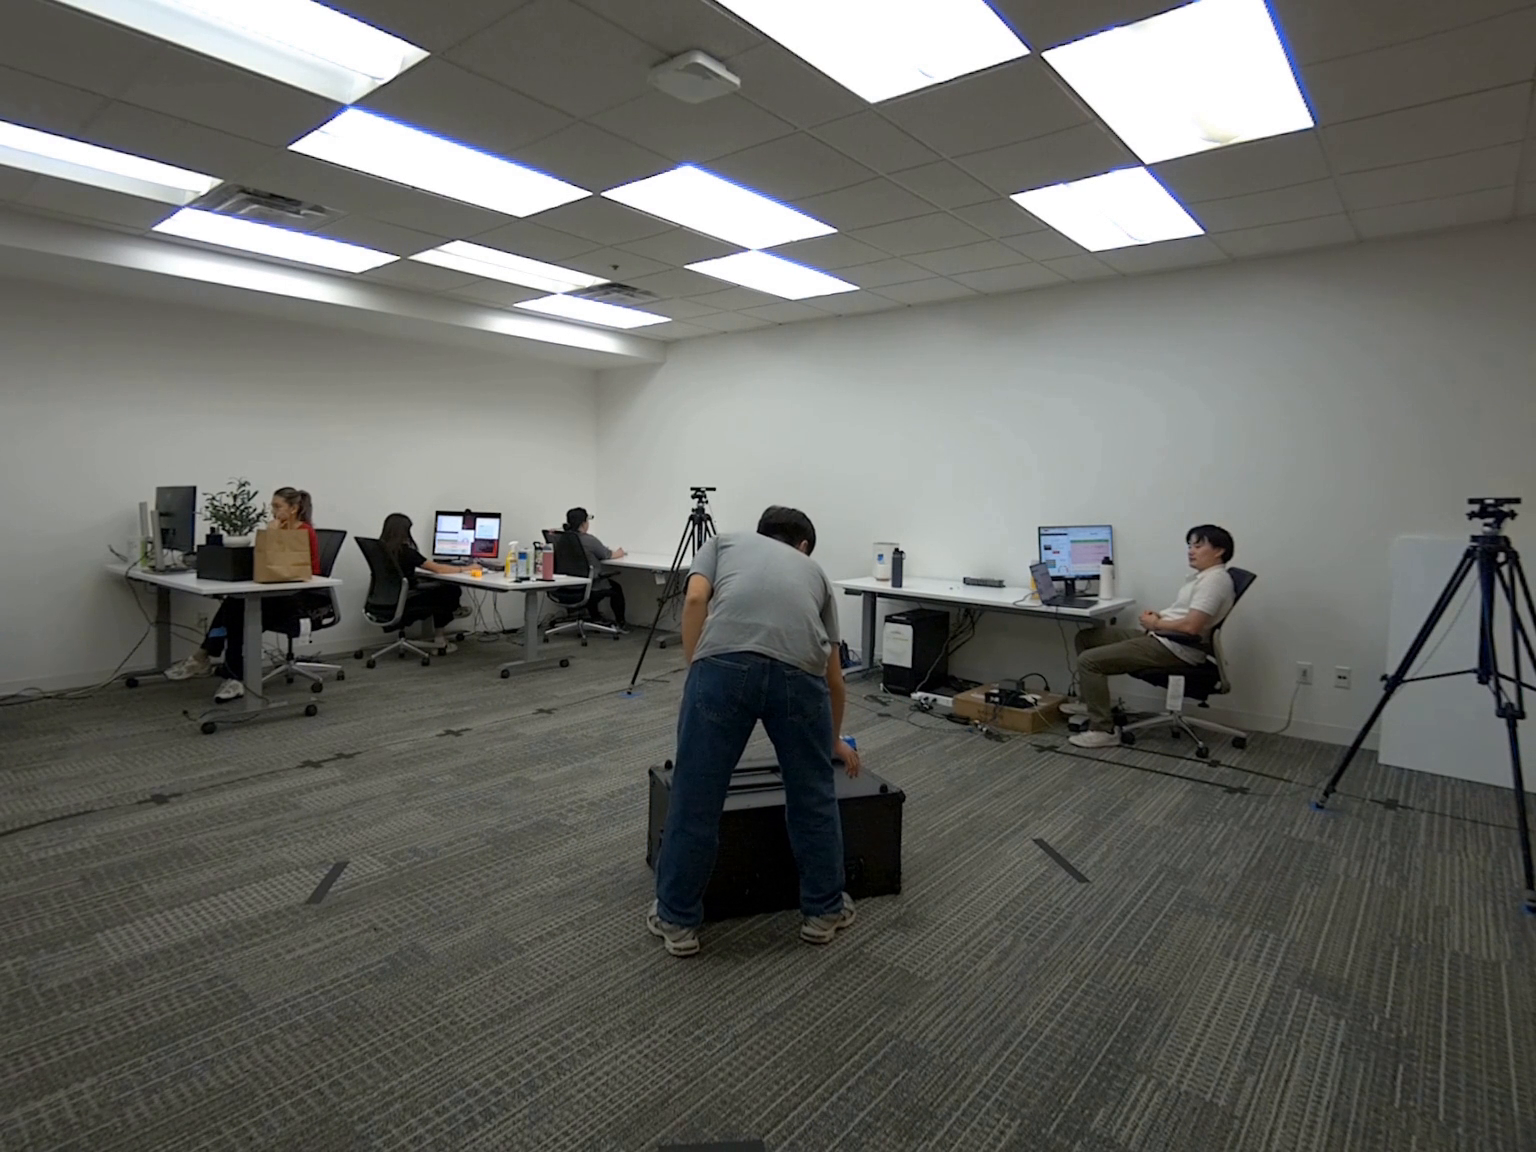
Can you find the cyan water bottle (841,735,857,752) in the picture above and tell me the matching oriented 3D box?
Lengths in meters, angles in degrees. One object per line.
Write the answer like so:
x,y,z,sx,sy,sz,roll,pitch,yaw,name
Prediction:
0.201,0.653,3.251,0.278,0.092,0.094,0,4,-17,cyan water bottle
